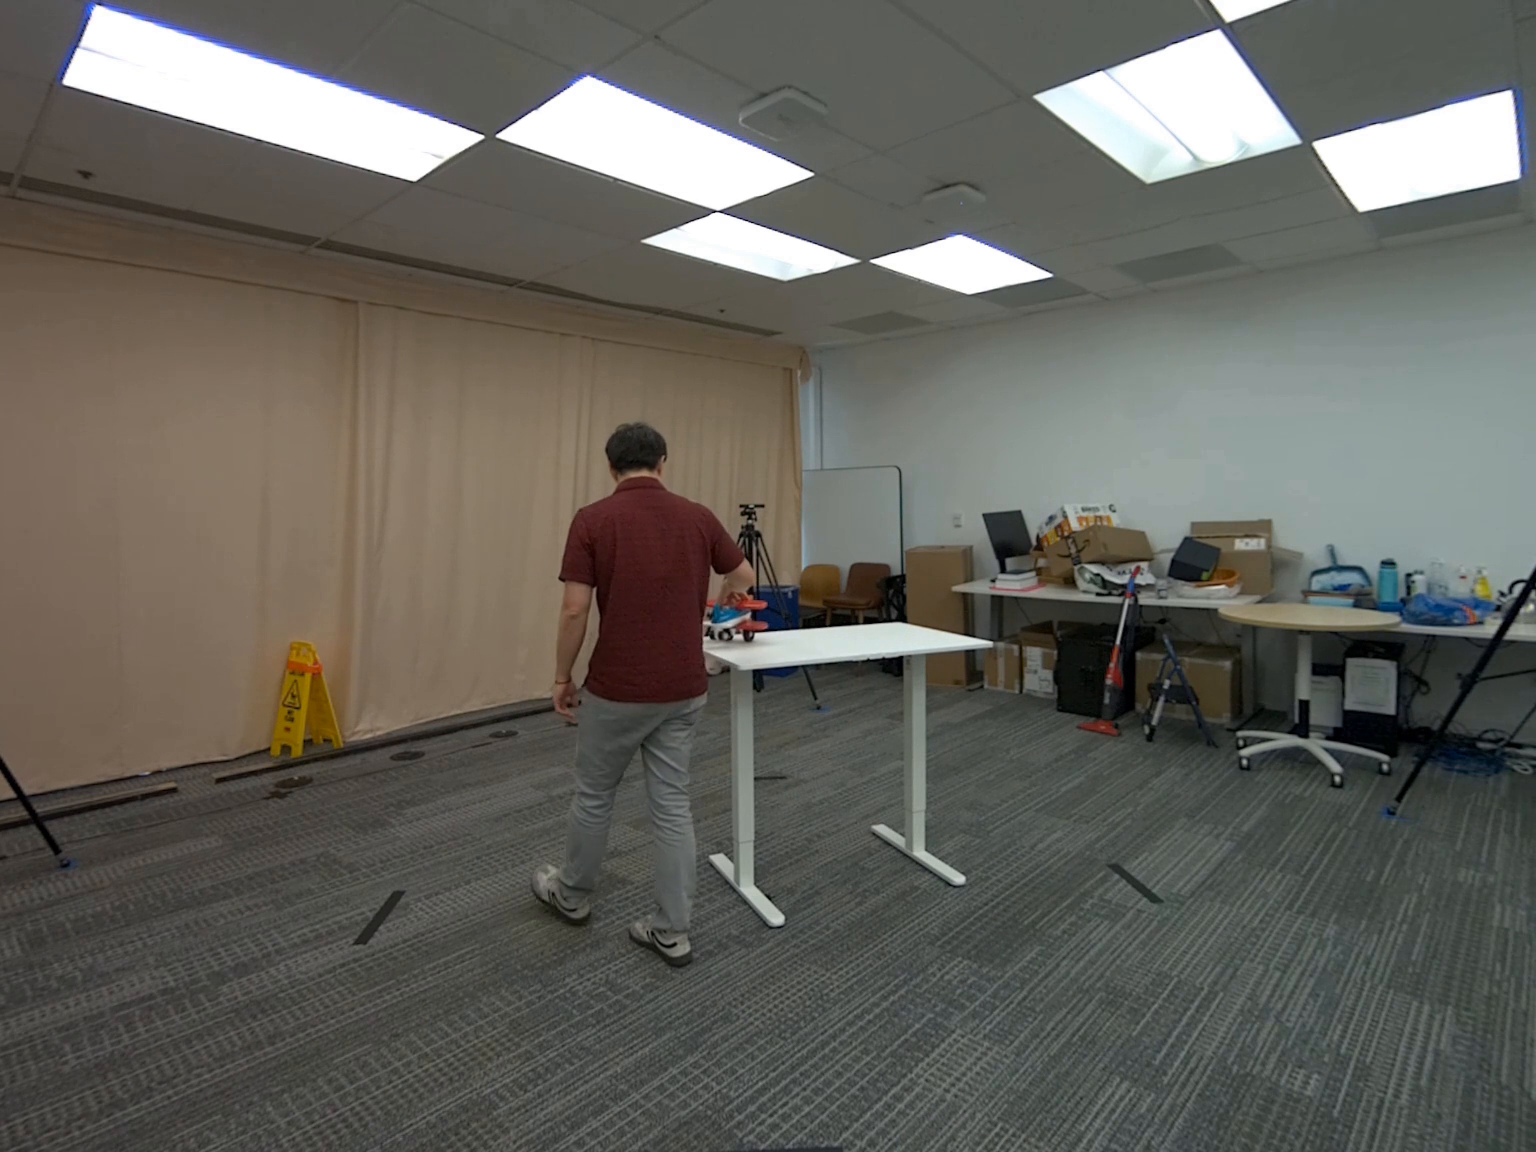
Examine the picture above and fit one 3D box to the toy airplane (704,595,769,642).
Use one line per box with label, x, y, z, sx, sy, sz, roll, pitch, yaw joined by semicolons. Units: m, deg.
toy airplane;-0.117;0.163;3.089;0.250;0.157;0.260;3;-4;-4
